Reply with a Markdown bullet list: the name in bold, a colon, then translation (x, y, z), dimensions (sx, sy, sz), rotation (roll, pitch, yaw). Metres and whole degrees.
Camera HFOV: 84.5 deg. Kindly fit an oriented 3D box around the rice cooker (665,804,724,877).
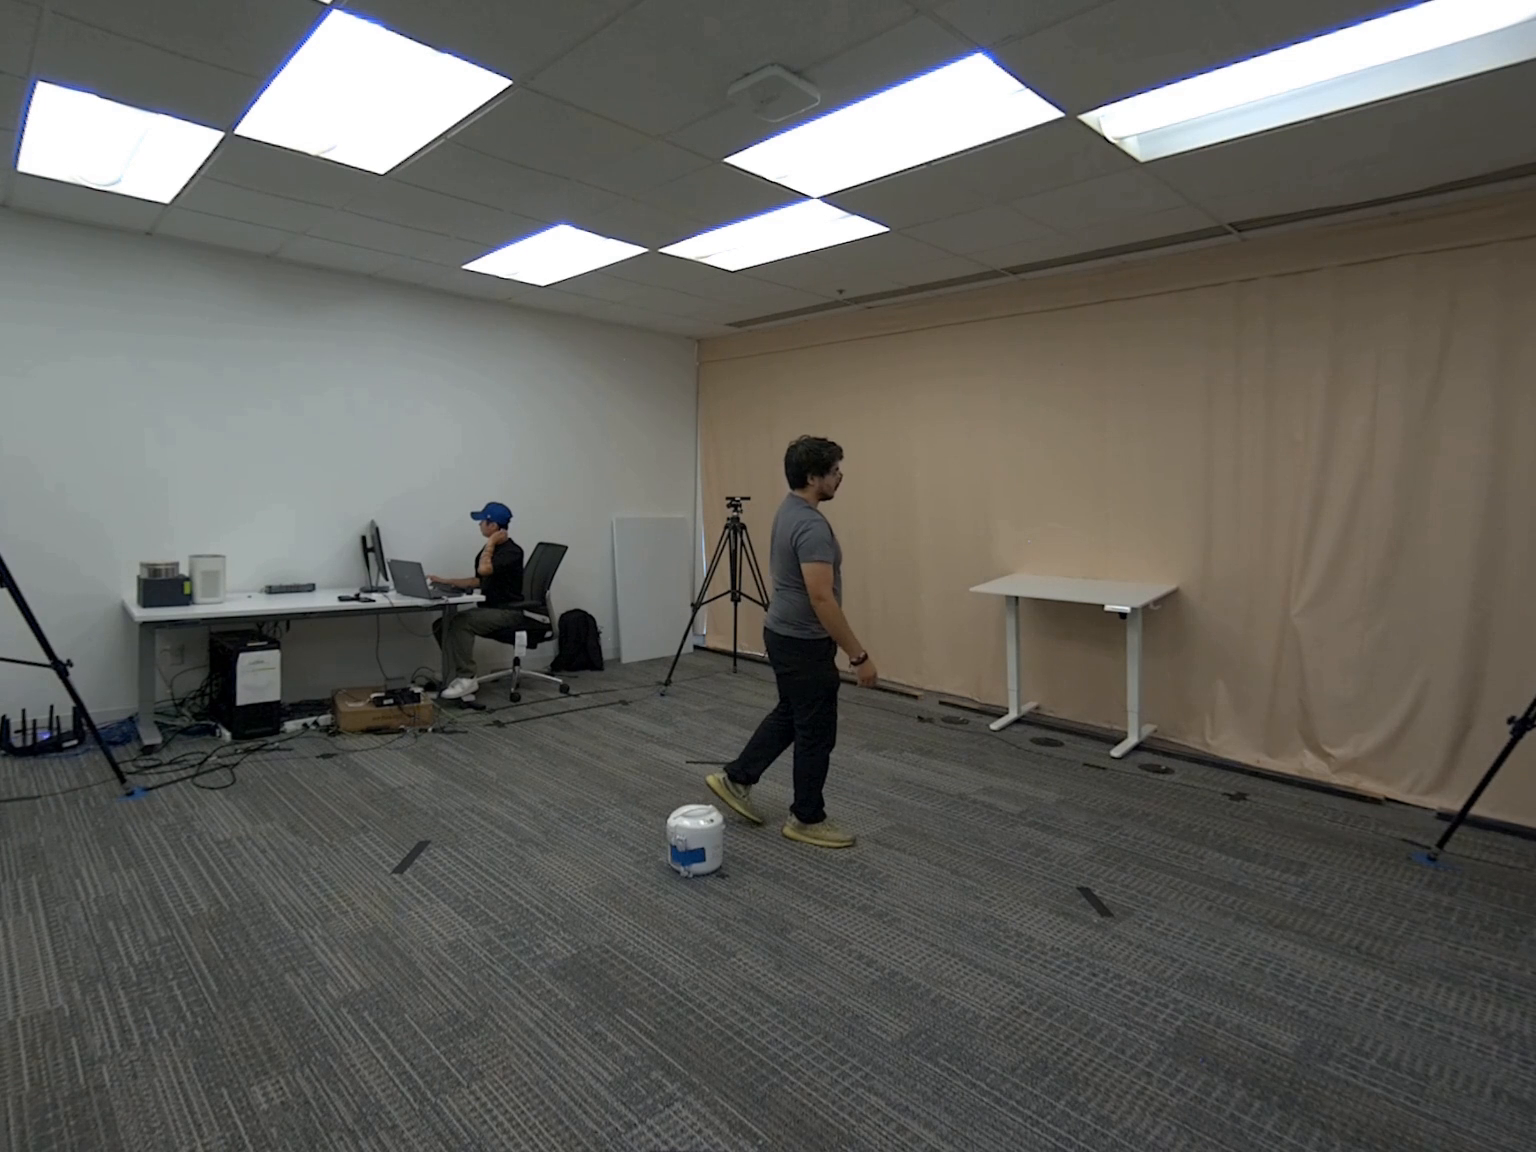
- **rice cooker**: translation (-0.279, 0.980, 3.172), dimensions (0.216, 0.232, 0.222), rotation (0, 5, -25)
